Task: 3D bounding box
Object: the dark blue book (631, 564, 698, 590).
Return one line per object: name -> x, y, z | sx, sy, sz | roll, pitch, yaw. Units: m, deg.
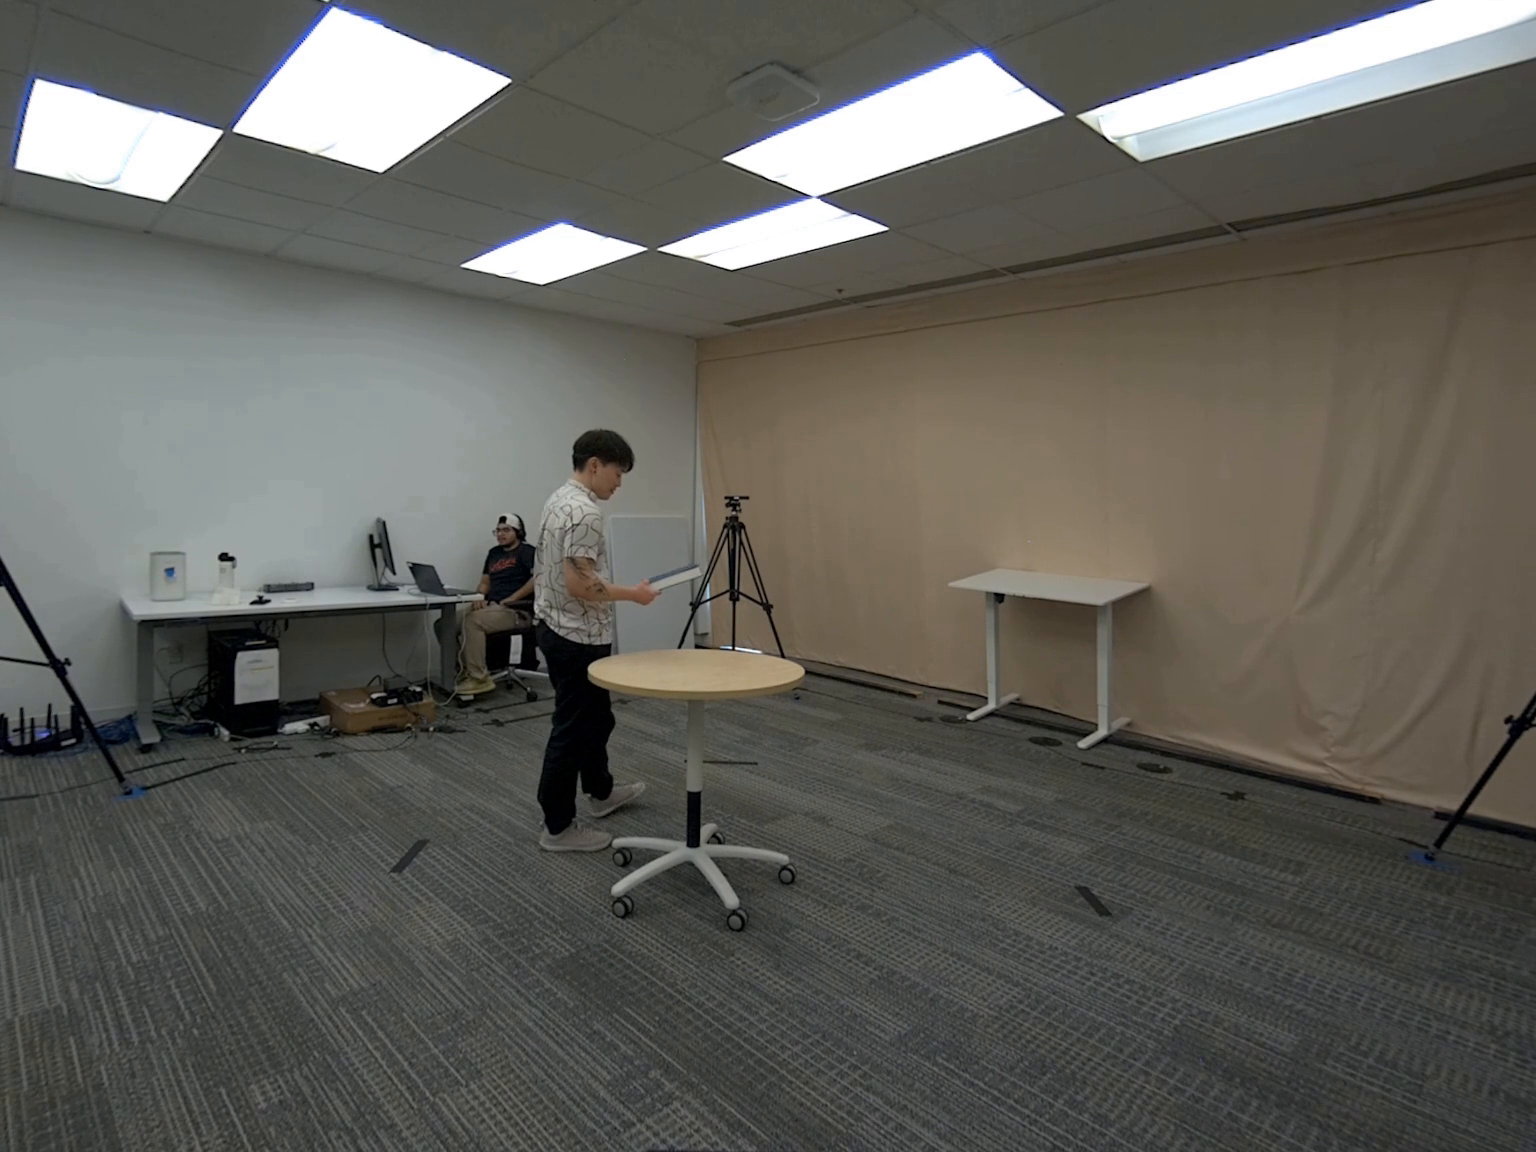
dark blue book -> -0.416, 0.015, 3.371 | 0.244, 0.045, 0.165 | -18, 7, -10
